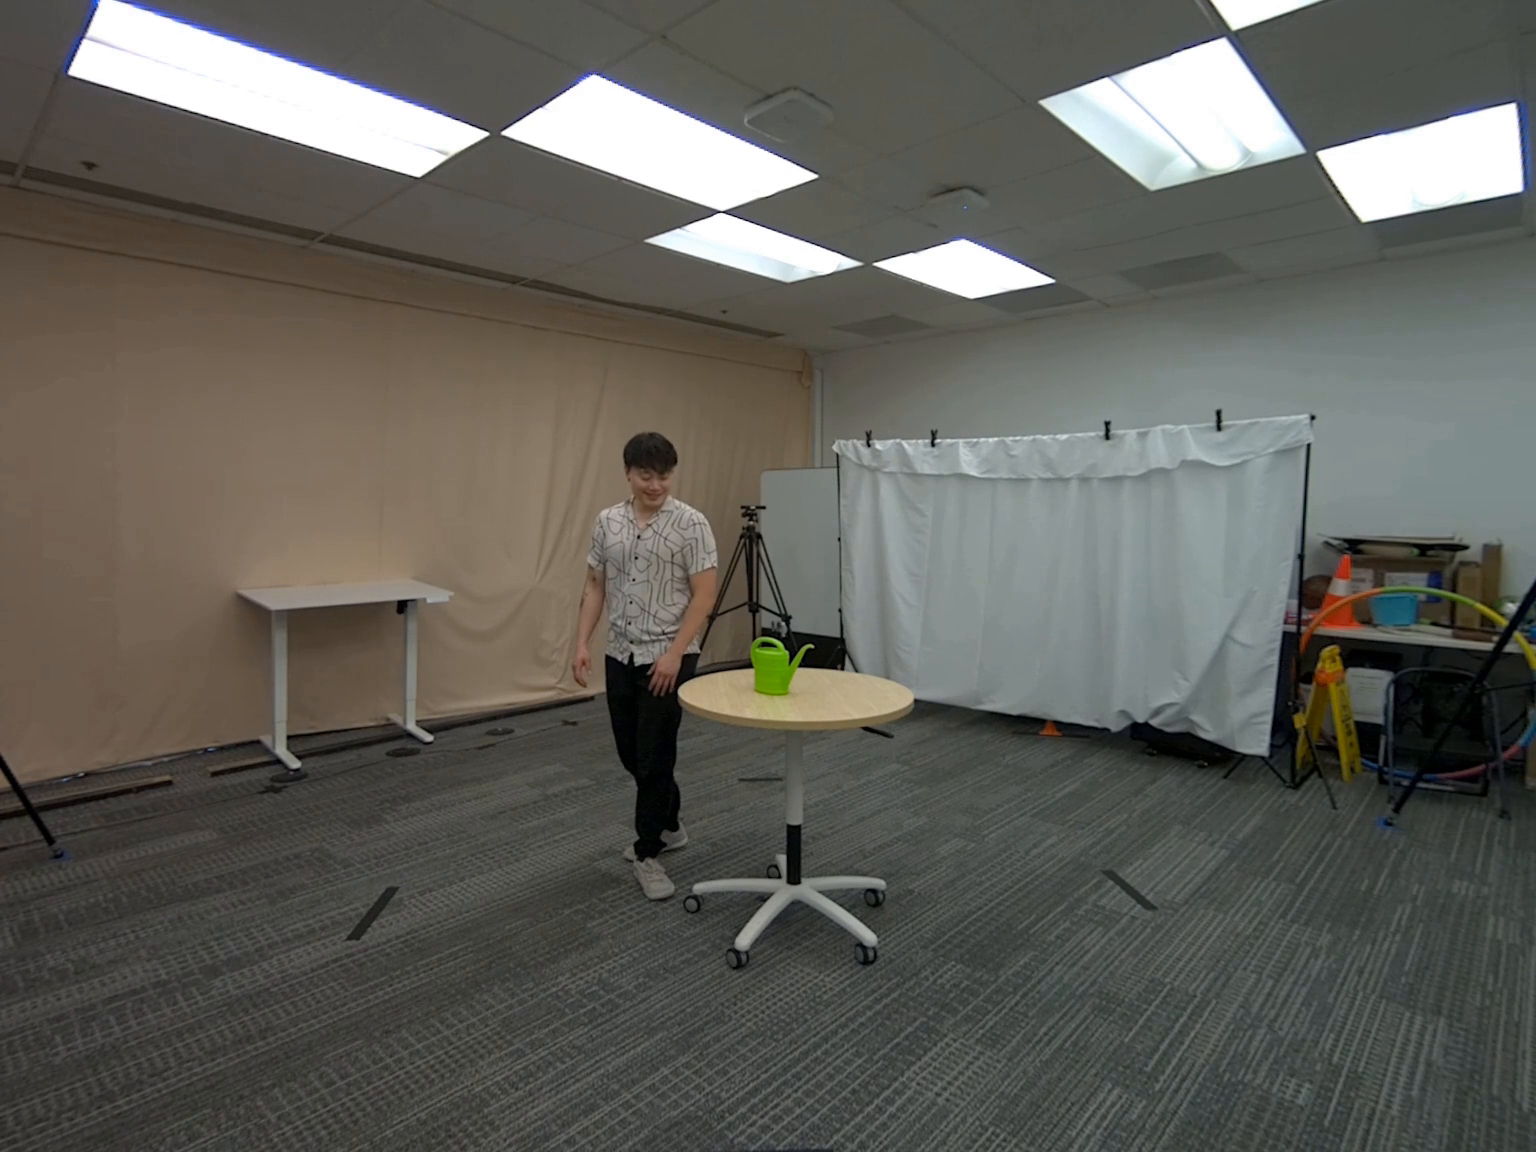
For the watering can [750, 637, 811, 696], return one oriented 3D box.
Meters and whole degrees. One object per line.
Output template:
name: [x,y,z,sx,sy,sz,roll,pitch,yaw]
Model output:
watering can: [0.036,0.295,2.710,0.095,0.176,0.286,-4,4,-29]
